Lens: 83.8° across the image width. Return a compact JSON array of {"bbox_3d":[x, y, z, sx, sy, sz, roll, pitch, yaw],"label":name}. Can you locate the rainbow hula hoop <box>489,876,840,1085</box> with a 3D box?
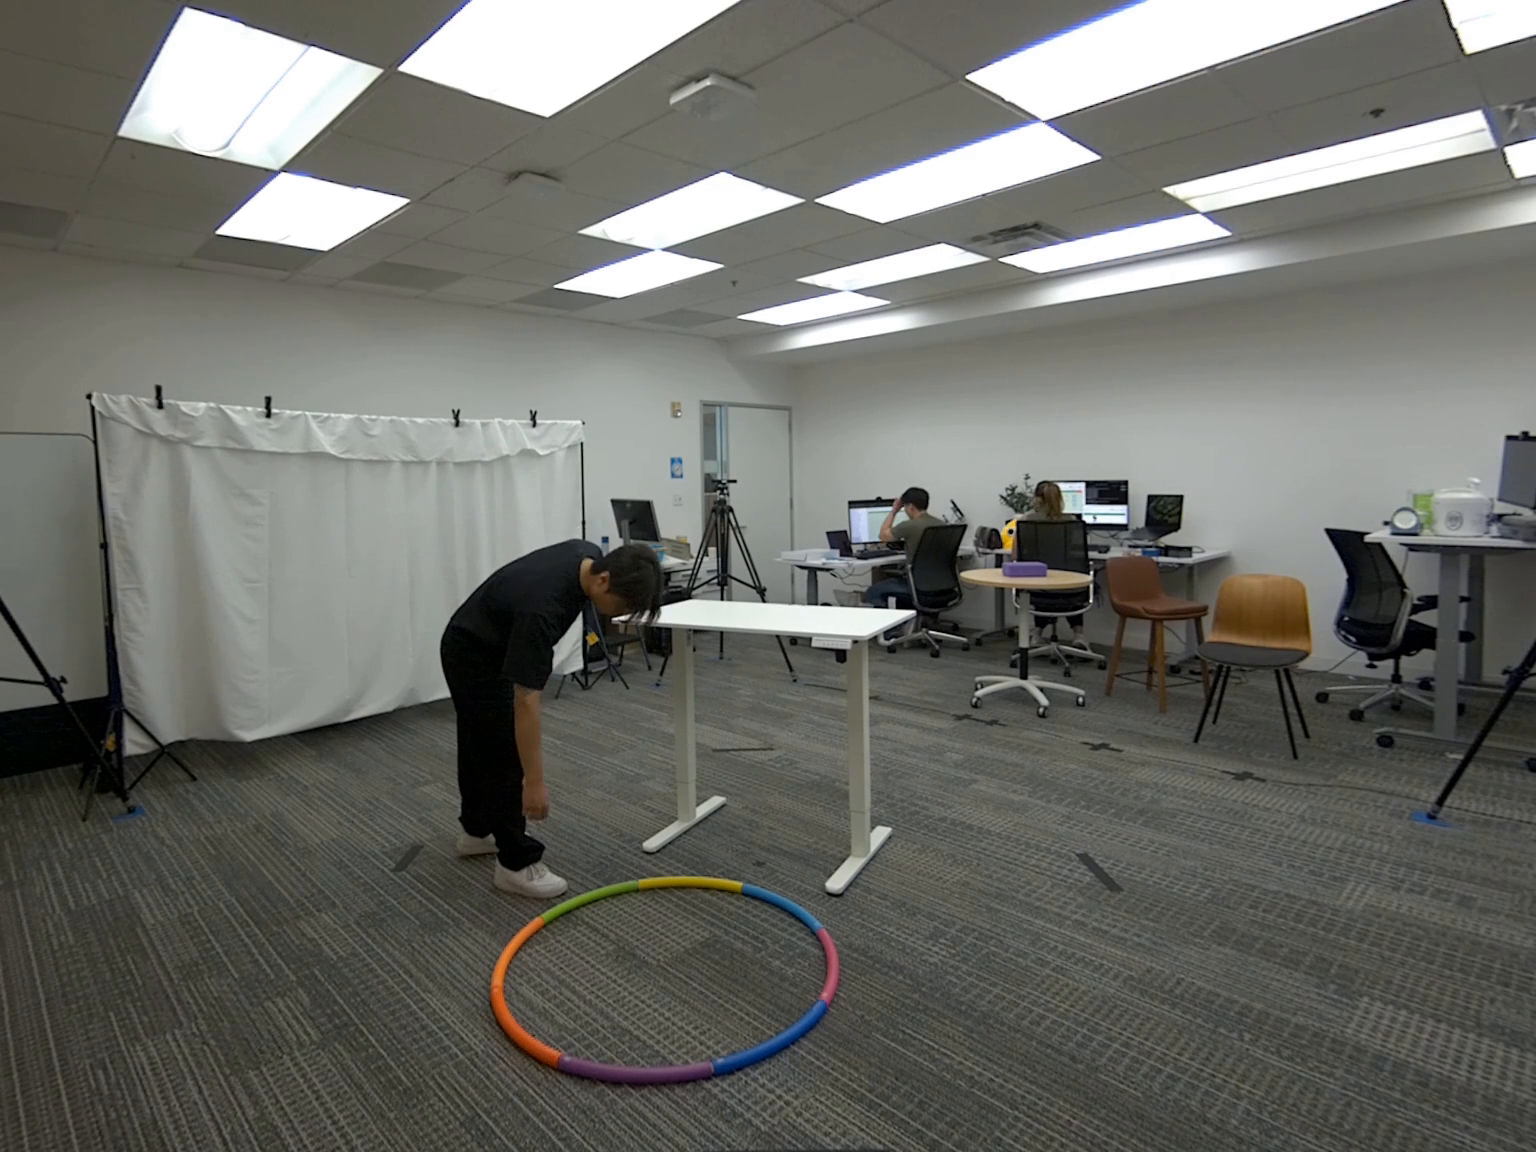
[{"bbox_3d":[-0.283,1.098,2.470,0.978,0.035,0.984,-1,6,-2],"label":"rainbow hula hoop"}]
